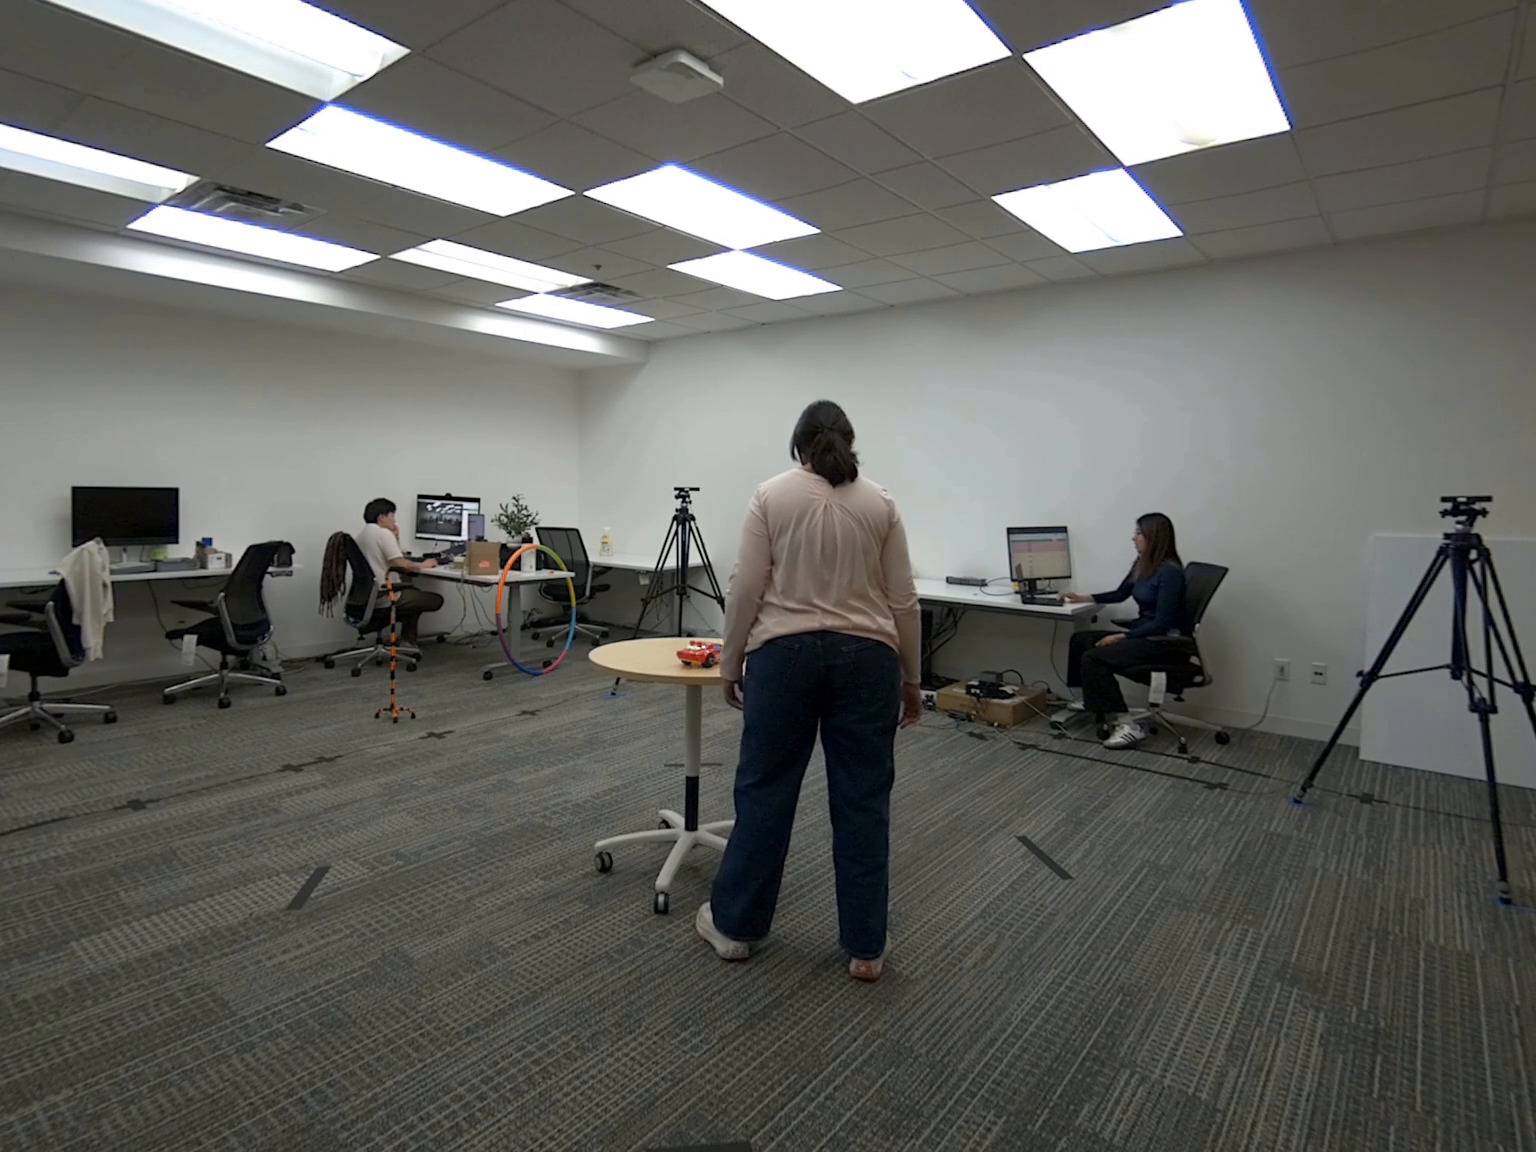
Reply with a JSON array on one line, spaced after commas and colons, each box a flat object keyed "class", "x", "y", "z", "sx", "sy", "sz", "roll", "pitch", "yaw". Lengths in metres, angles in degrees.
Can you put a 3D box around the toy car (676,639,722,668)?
[{"class": "toy car", "x": -0.224, "y": 0.267, "z": 2.929, "sx": 0.134, "sy": 0.083, "sz": 0.245, "roll": 5, "pitch": -5, "yaw": 34}]
